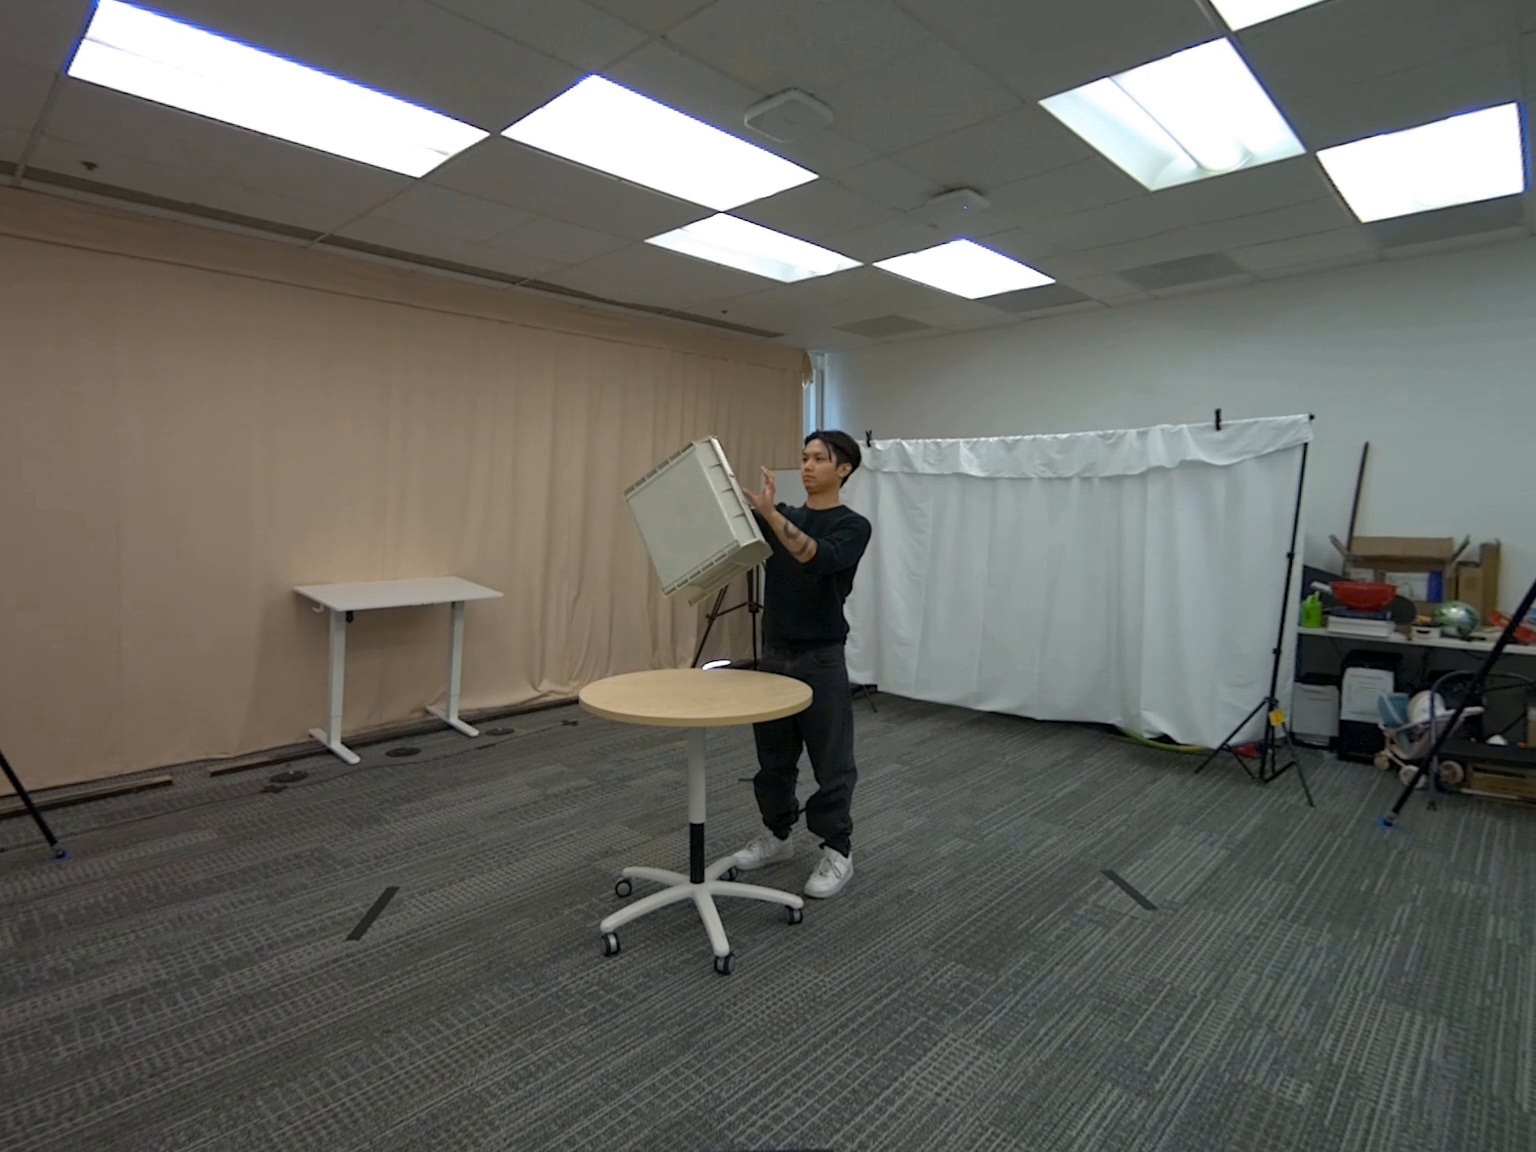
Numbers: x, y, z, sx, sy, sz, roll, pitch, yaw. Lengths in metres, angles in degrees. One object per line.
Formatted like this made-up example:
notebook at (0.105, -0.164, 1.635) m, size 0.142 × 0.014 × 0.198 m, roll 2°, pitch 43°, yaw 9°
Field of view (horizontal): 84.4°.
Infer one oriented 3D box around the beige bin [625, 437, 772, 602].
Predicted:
beige bin at (-0.222, -0.182, 2.771) m, size 0.381 × 0.431 × 0.183 m, roll -34°, pitch -22°, yaw 22°
